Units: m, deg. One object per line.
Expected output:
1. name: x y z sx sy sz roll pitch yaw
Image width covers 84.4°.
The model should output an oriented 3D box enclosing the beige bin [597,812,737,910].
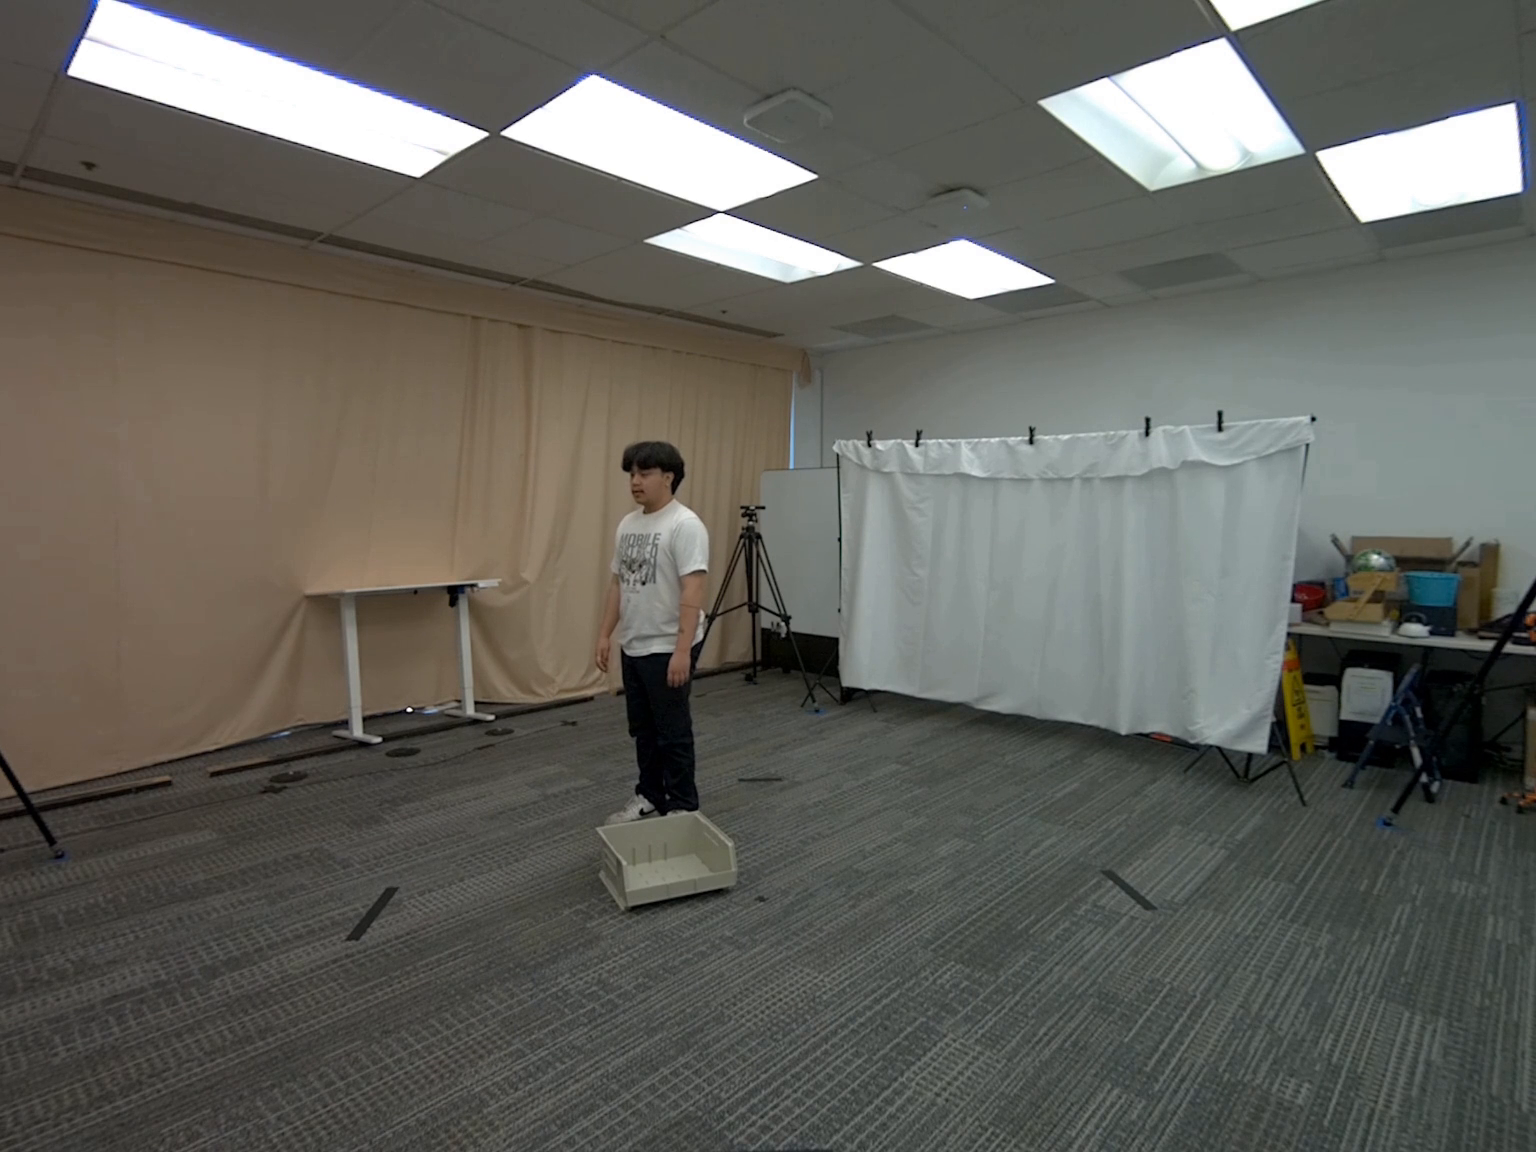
1. beige bin: -0.379 1.047 3.102 0.413 0.188 0.387 -3 4 -25
